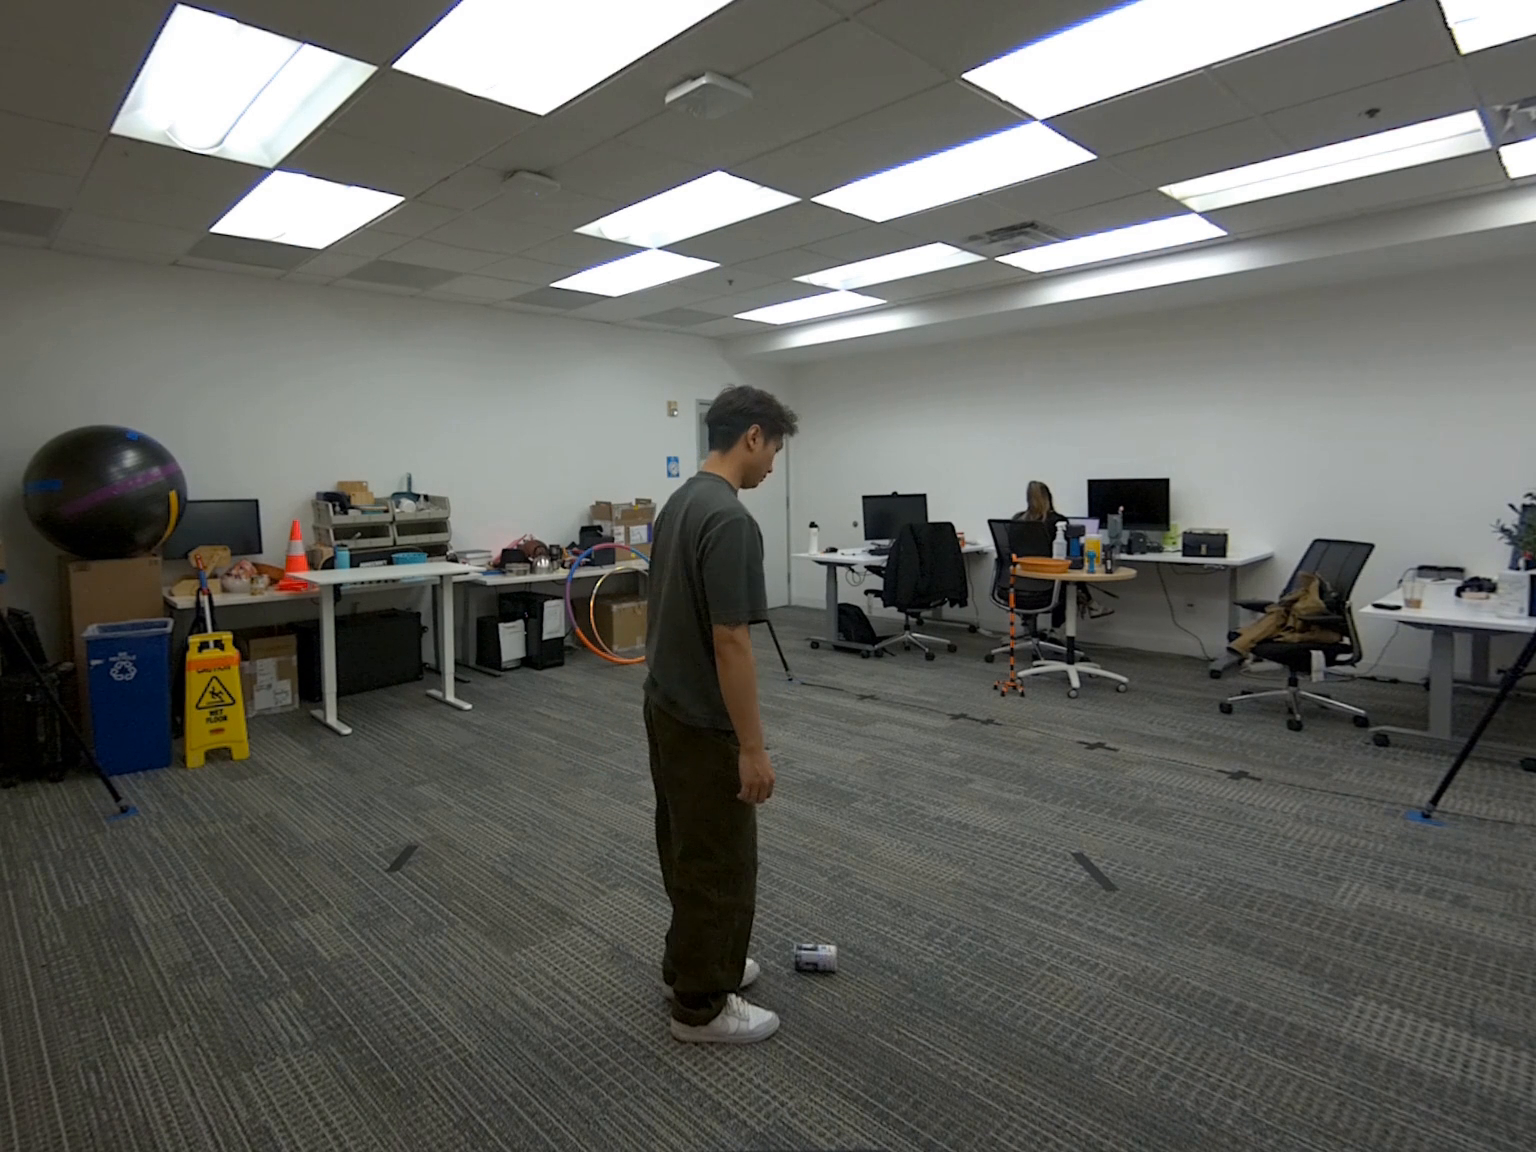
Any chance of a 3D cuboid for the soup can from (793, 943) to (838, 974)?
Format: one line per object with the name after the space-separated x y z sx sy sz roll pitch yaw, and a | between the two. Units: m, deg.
0.146 1.086 2.426 0.122 0.067 0.067 -5 5 3 | soup can
